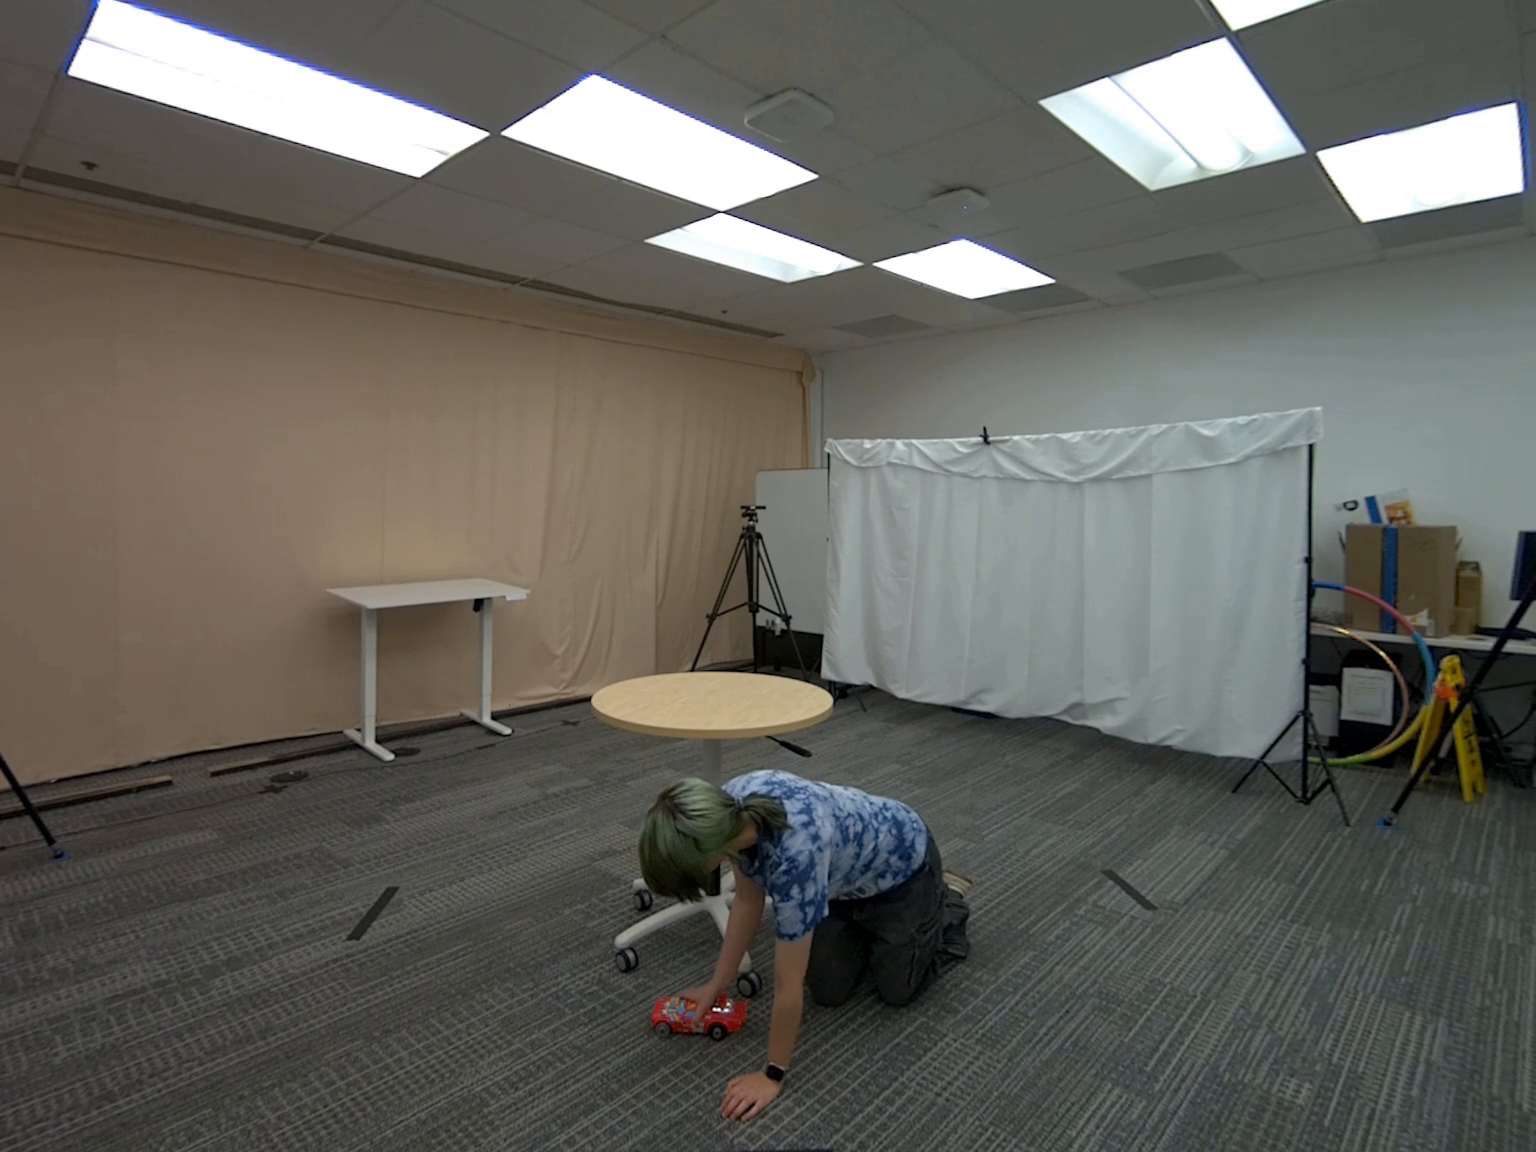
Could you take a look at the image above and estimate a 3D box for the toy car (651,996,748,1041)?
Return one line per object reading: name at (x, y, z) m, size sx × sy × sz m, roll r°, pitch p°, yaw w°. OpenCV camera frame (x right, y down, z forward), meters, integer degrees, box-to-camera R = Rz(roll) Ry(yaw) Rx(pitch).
toy car at (-0.181, 1.190, 2.239) m, size 0.256 × 0.083 × 0.130 m, roll -9°, pitch 3°, yaw 6°
